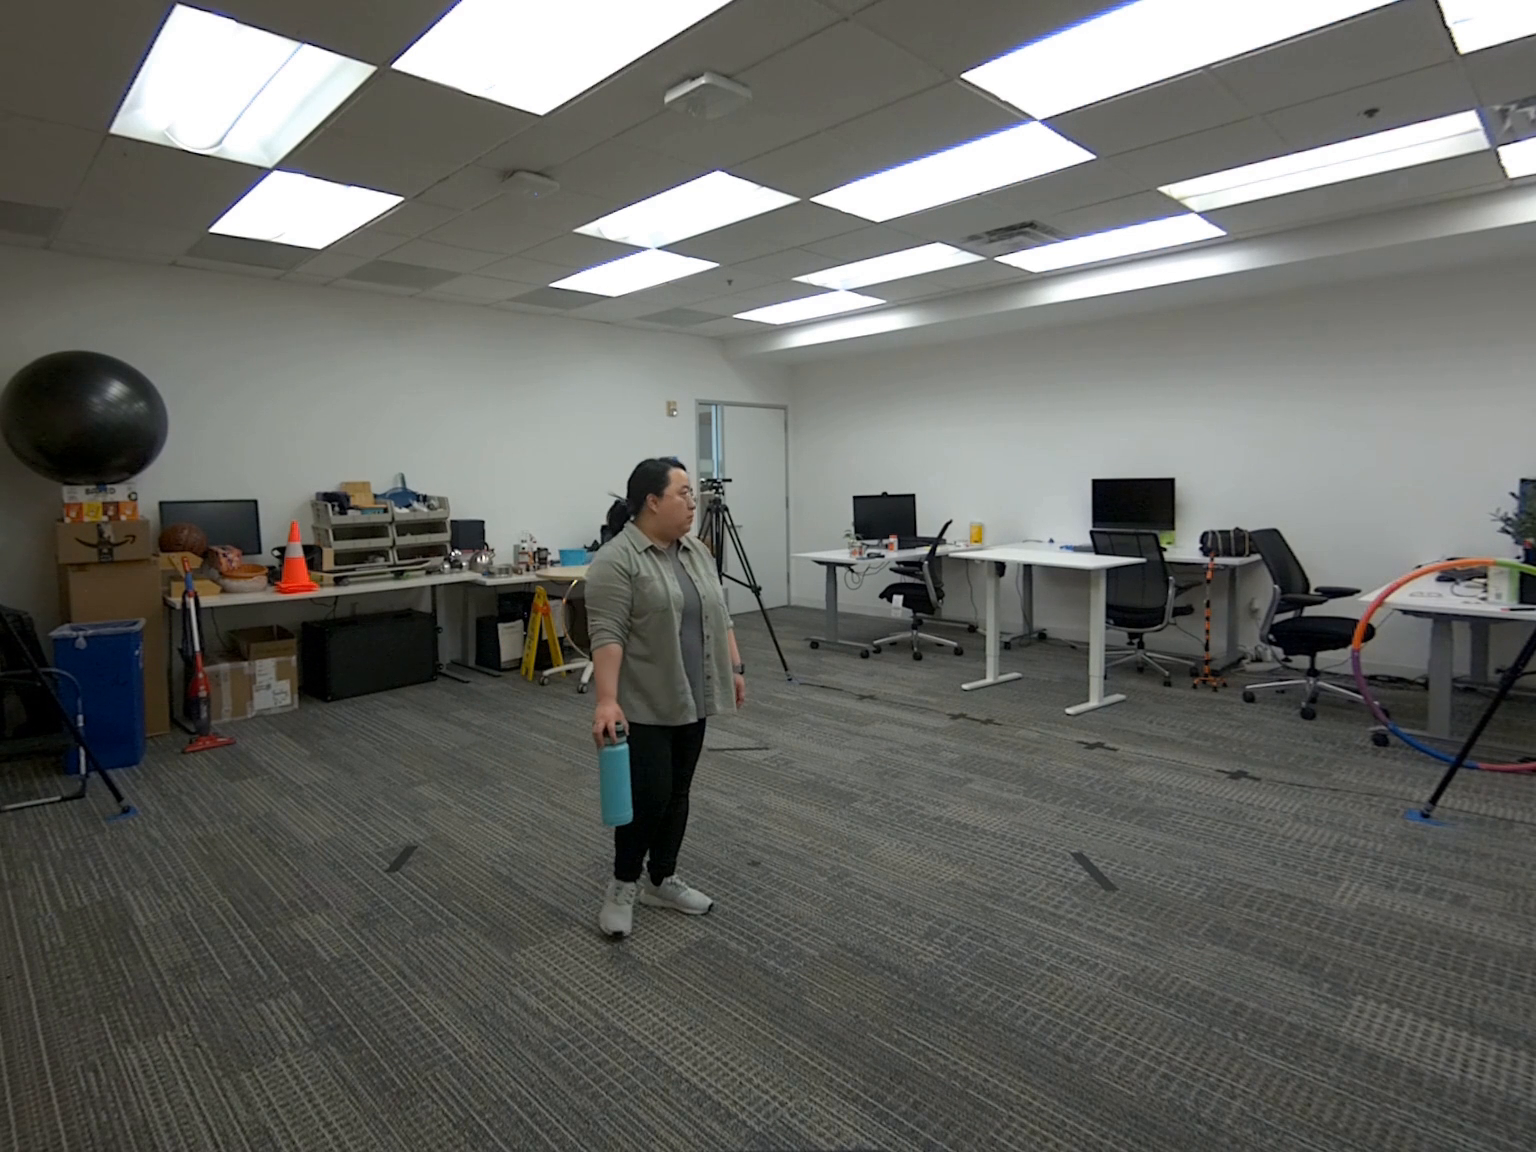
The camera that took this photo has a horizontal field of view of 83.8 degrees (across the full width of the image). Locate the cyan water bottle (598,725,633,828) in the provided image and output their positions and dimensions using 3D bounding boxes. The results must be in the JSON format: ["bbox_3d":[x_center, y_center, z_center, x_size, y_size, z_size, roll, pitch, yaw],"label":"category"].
[{"bbox_3d":[-0.452,0.575,2.478,0.092,0.283,0.092,-1,2,-2],"label":"cyan water bottle"}]
